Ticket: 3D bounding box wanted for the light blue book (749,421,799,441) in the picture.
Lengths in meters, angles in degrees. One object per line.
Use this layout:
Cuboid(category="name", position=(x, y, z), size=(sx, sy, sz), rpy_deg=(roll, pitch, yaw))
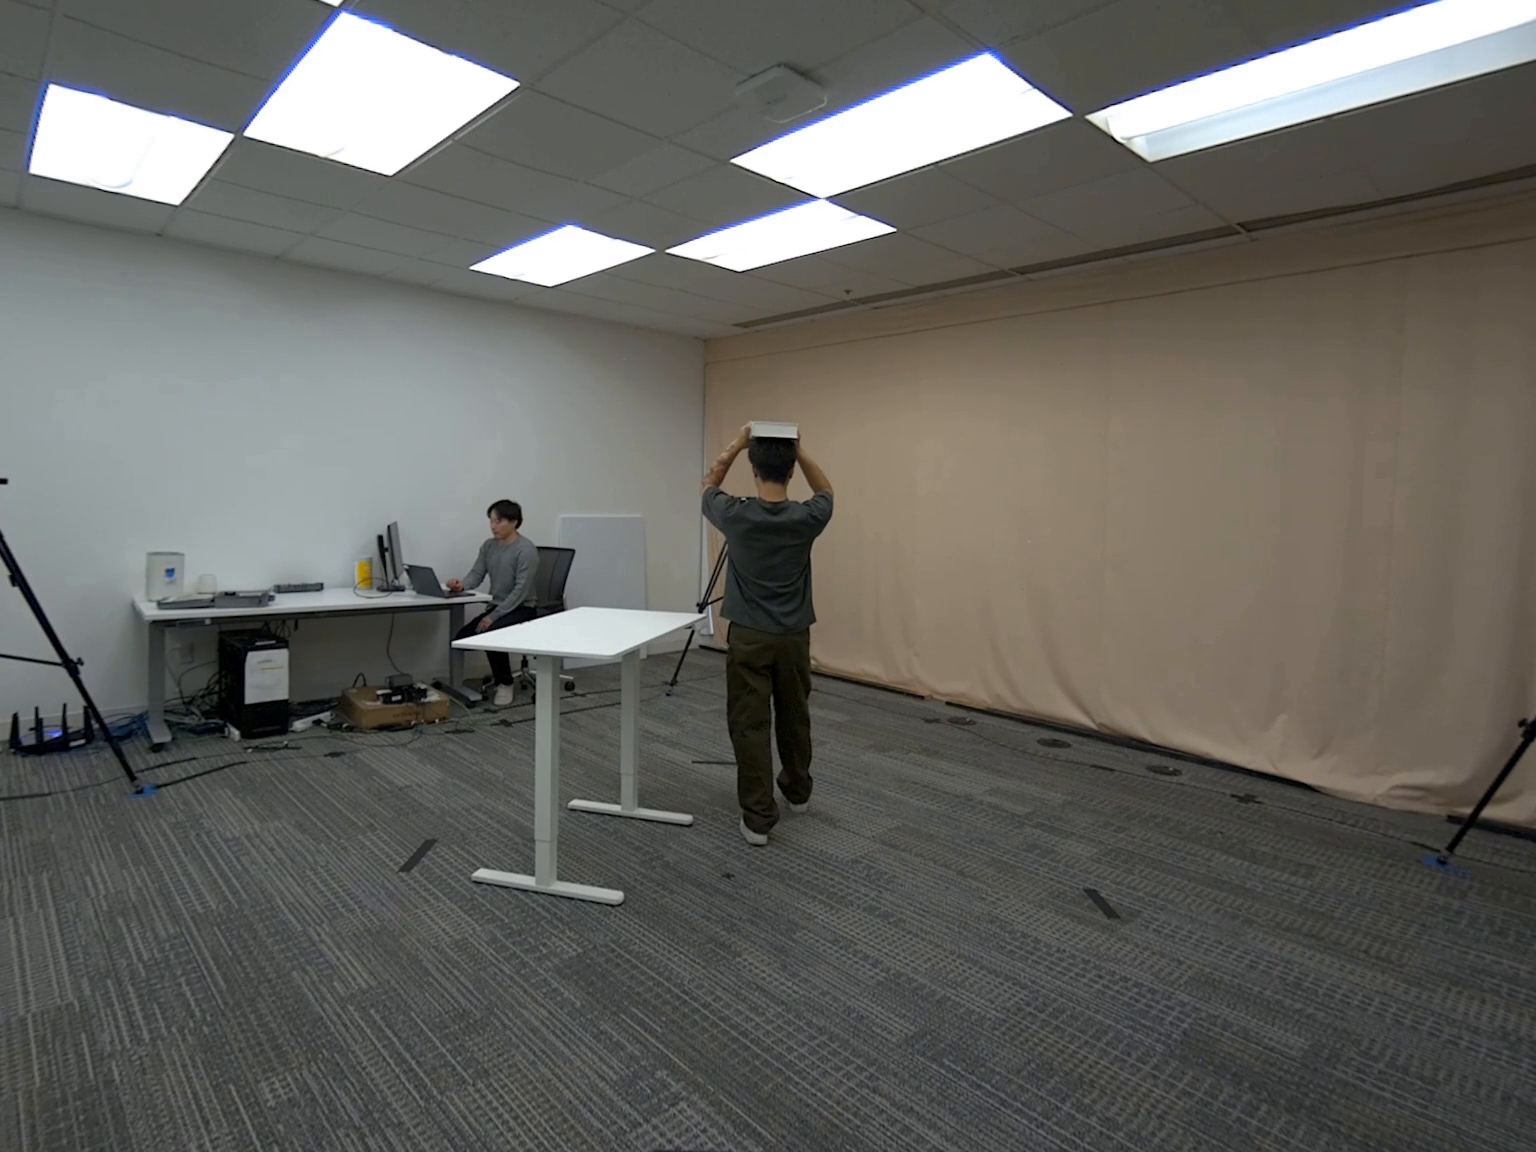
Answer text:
Cuboid(category="light blue book", position=(0.014, -0.607, 3.548), size=(0.191, 0.059, 0.262), rpy_deg=(2, 3, -3))
